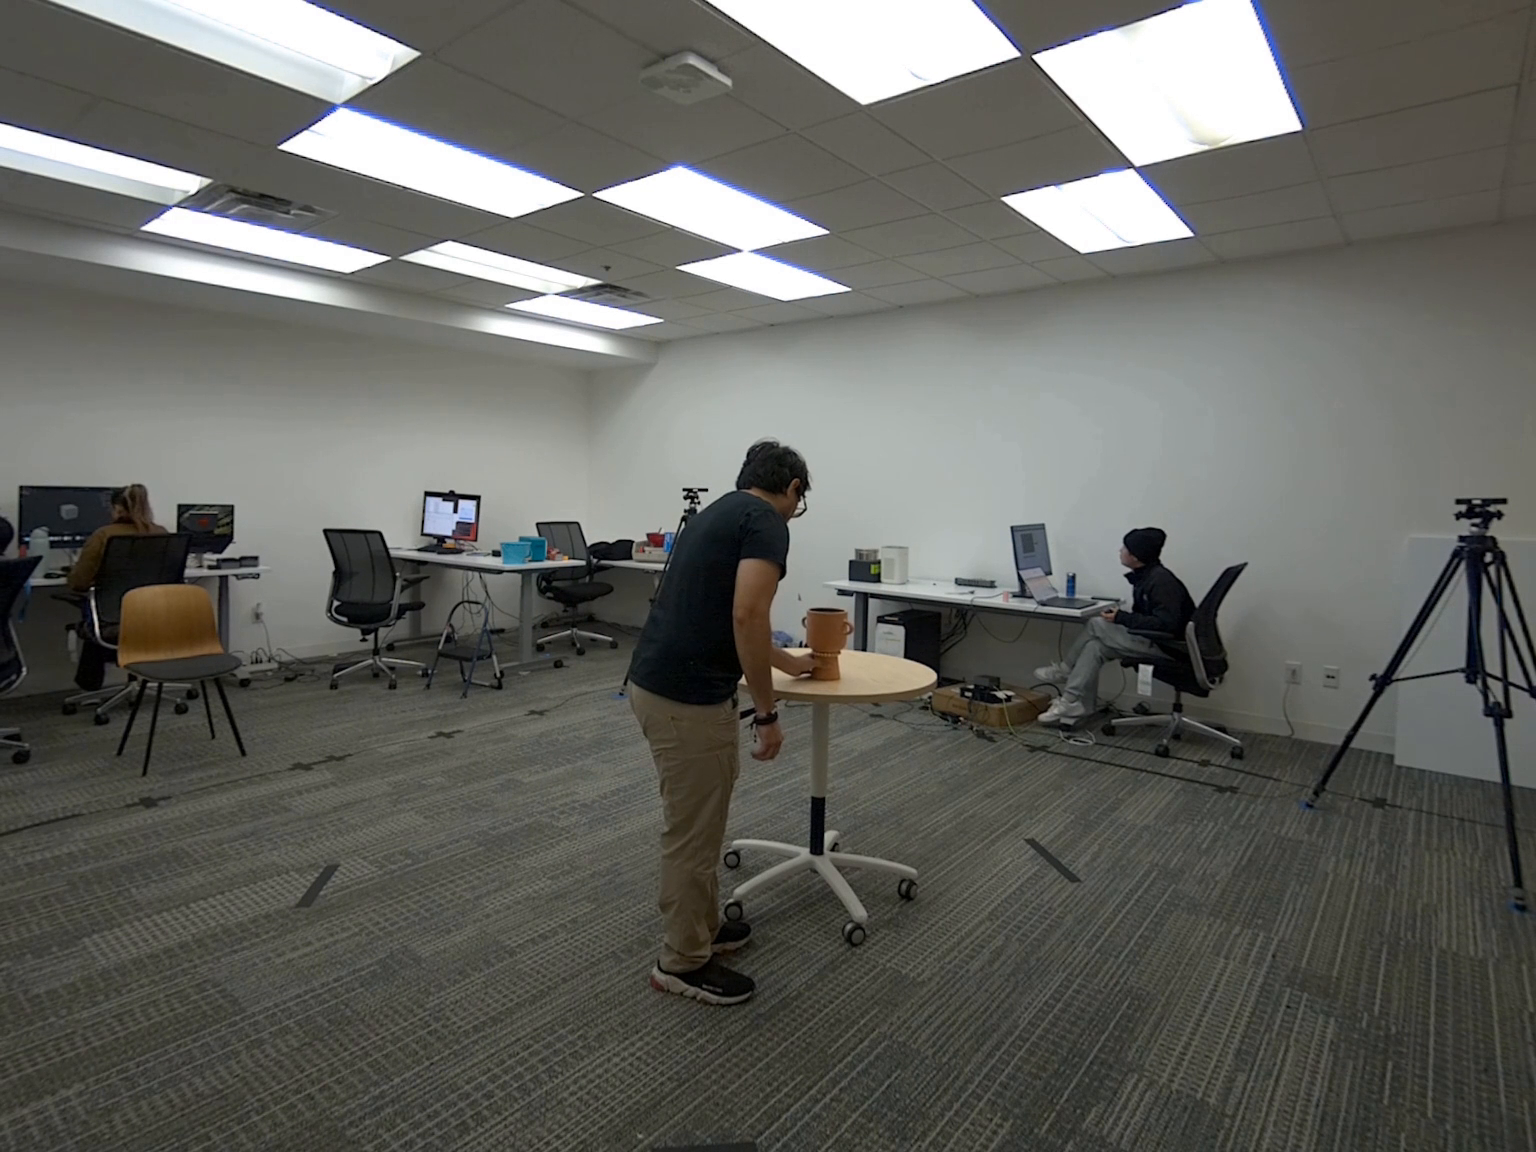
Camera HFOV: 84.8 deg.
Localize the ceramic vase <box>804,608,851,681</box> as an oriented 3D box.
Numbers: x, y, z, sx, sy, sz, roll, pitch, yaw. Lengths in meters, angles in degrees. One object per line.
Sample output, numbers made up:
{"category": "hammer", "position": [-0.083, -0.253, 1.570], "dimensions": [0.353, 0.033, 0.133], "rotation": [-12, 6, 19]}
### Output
{"category": "ceramic vase", "position": [0.185, 0.221, 2.765], "dimensions": [0.133, 0.219, 0.161], "rotation": [2, 4, -10]}
